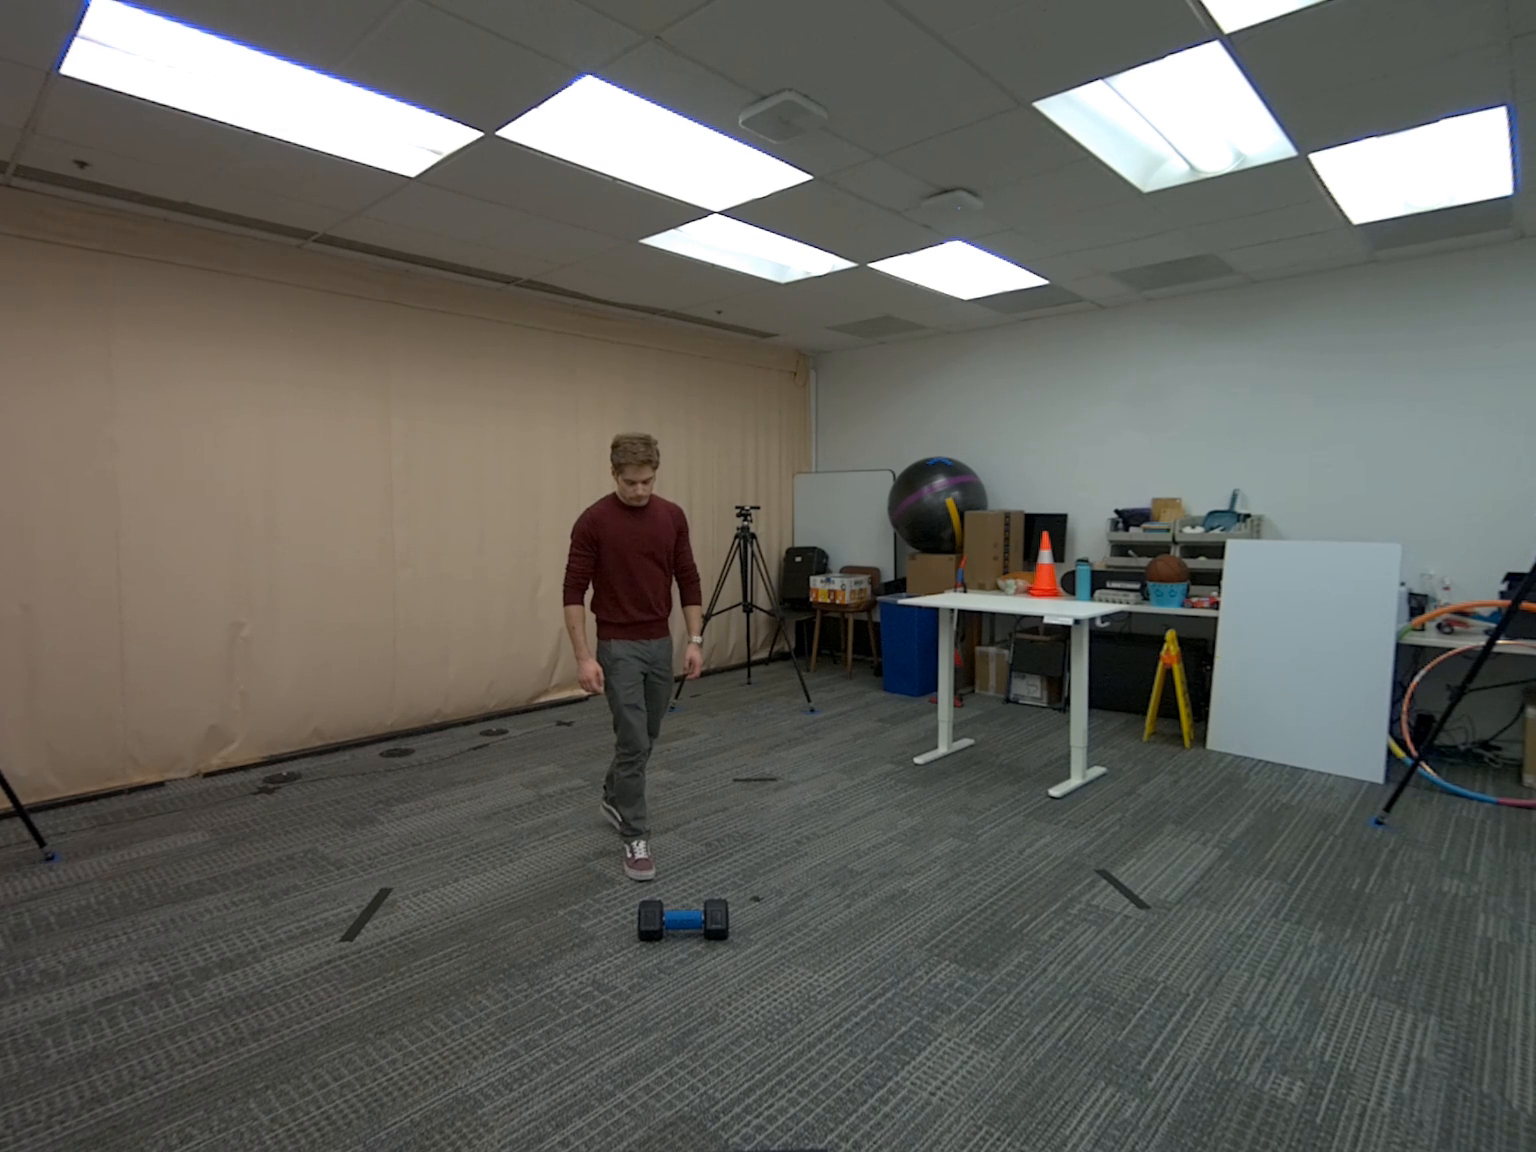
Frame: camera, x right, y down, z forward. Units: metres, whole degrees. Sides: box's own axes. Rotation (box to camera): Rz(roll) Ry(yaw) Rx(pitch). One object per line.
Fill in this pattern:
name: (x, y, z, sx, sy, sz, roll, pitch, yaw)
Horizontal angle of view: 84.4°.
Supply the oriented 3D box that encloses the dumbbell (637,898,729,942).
dumbbell: (-0.273, 1.116, 2.722, 0.293, 0.125, 0.107, 0, -26, -1)
